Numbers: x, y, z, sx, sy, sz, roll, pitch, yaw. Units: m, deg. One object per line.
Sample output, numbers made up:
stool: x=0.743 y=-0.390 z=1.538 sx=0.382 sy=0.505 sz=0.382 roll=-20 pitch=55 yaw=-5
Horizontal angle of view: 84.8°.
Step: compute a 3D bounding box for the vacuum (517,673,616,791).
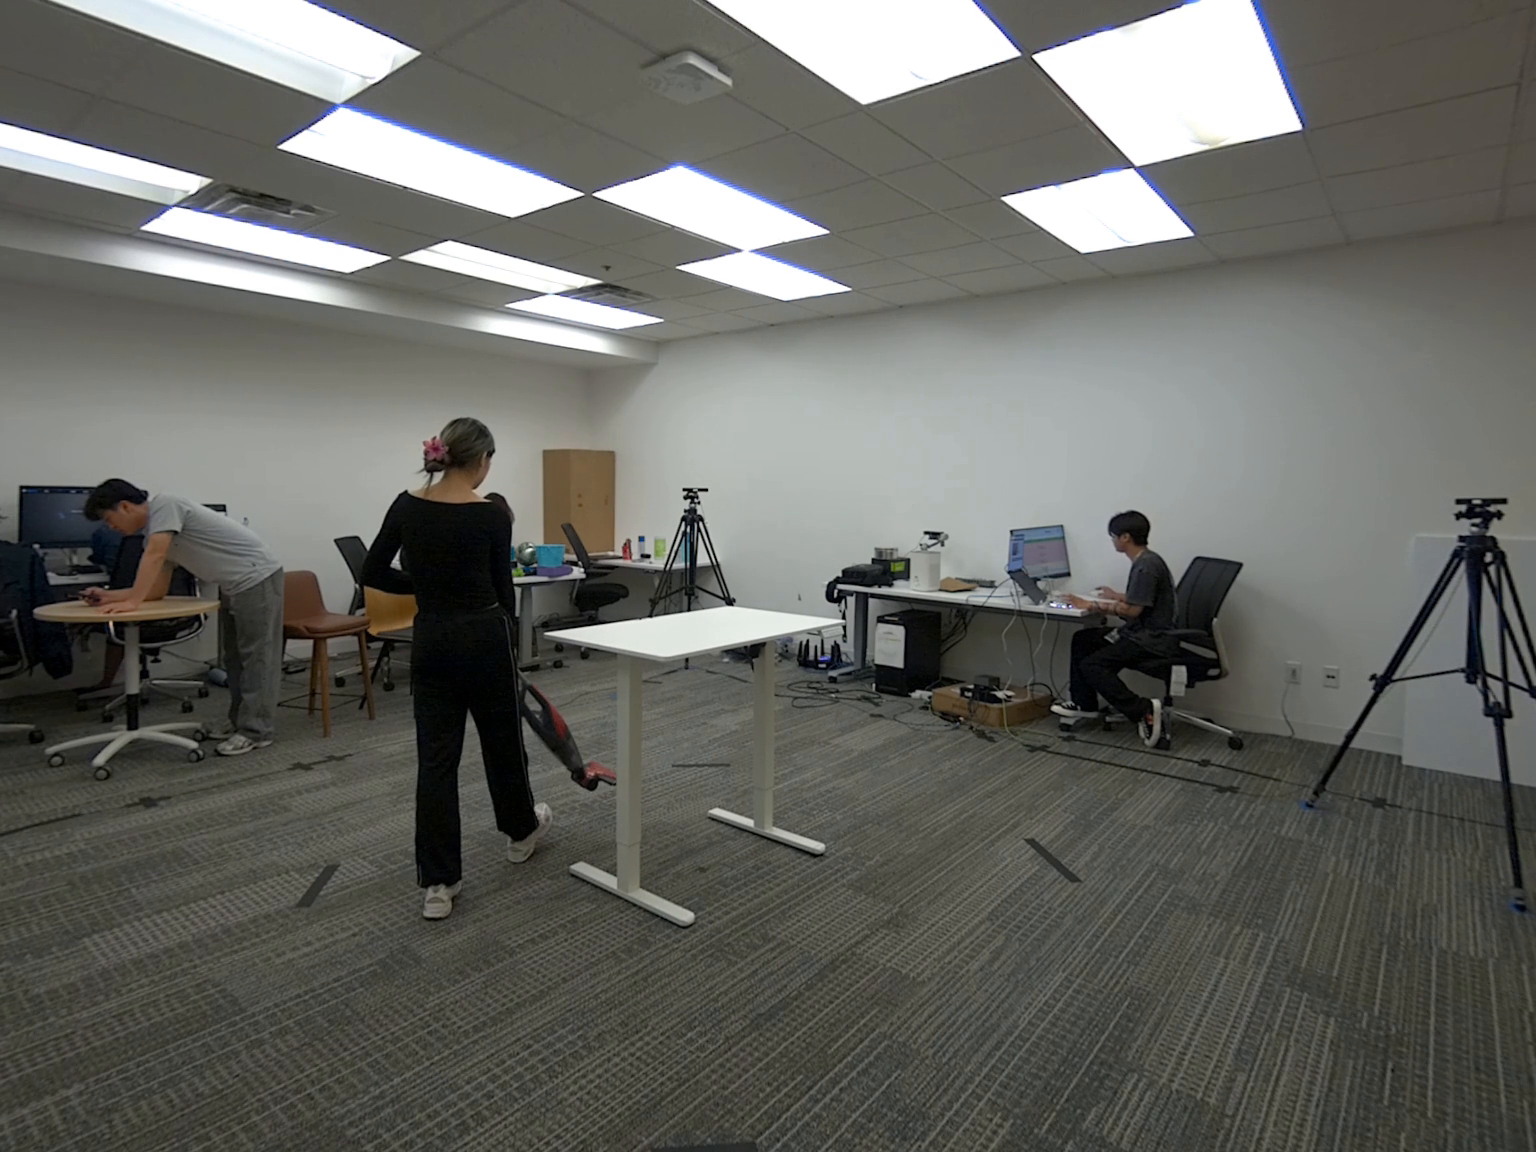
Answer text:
vacuum: x=-0.930 y=0.439 z=3.184 sx=0.261 sy=1.015 sz=0.144 roll=1 pitch=40 yaw=45
